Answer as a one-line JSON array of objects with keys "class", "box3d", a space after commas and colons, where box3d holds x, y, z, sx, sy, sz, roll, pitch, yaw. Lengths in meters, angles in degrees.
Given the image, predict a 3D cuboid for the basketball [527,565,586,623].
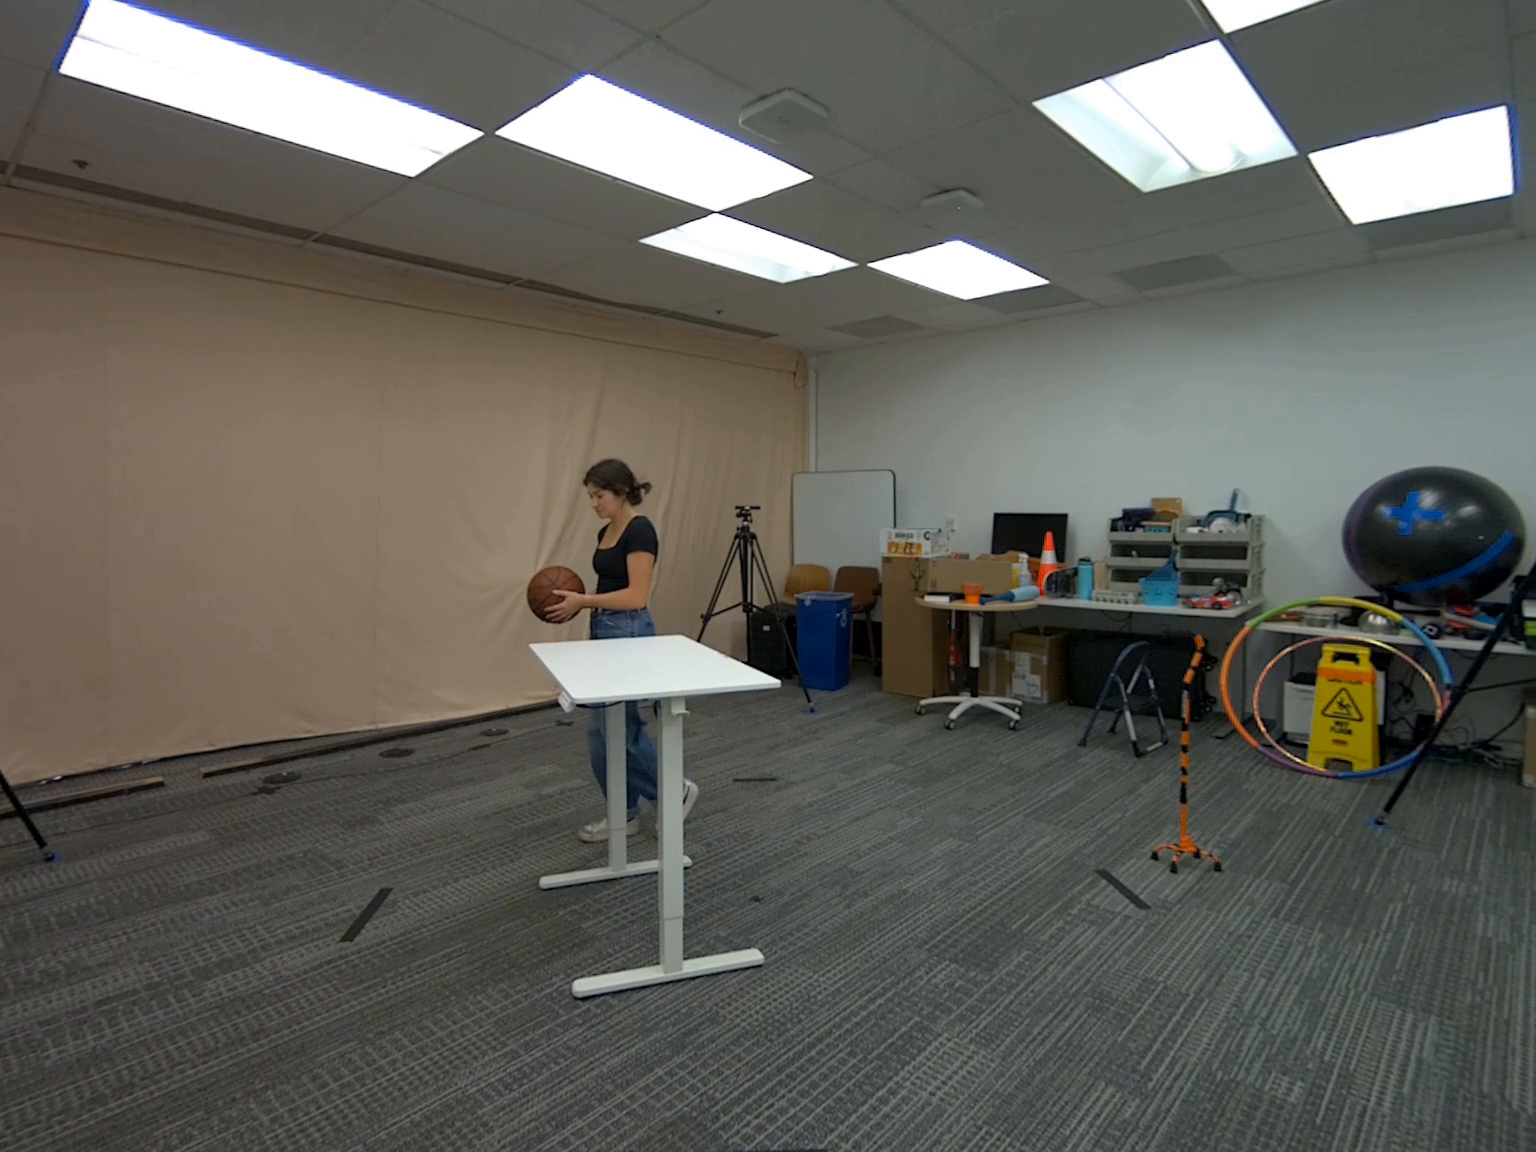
[{"class": "basketball", "box3d": [-0.864, 0.075, 3.473, 0.236, 0.235, 0.237, 0, 4, -2]}]
